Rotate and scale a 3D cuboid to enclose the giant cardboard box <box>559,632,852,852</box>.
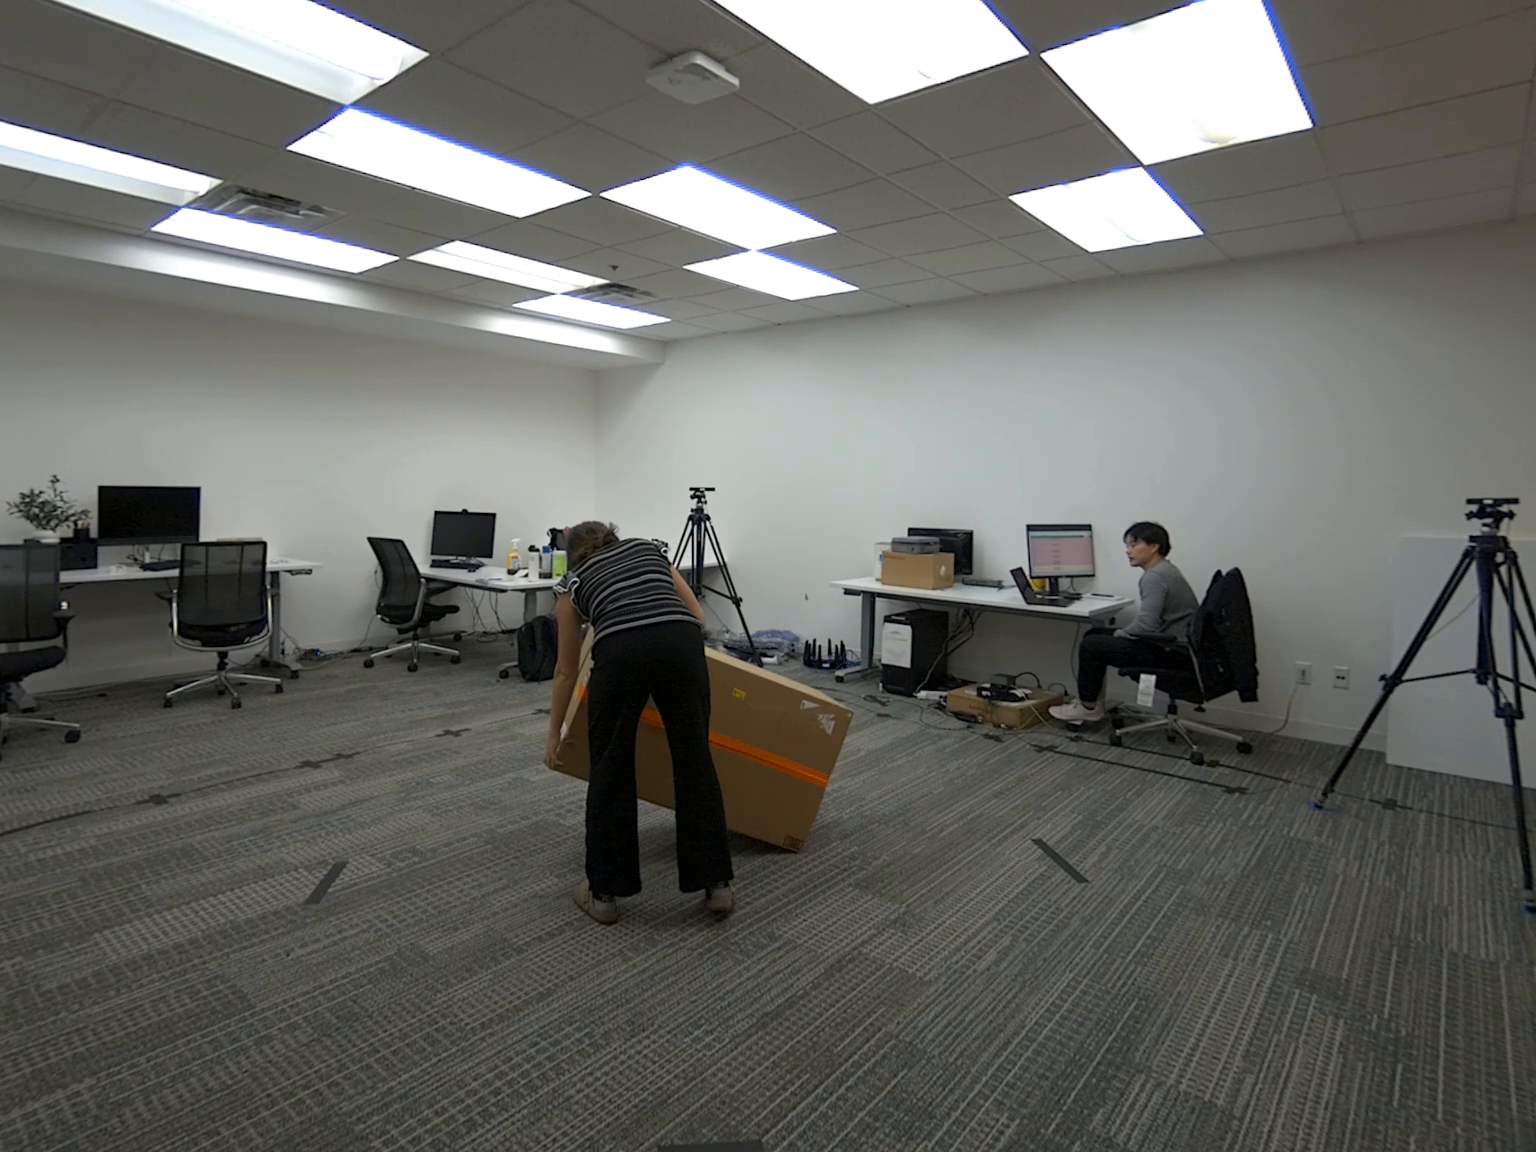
[{"bbox_3d":[-0.290,0.585,3.351,1.005,0.578,0.434,22,-3,-16],"label":"giant cardboard box"}]
